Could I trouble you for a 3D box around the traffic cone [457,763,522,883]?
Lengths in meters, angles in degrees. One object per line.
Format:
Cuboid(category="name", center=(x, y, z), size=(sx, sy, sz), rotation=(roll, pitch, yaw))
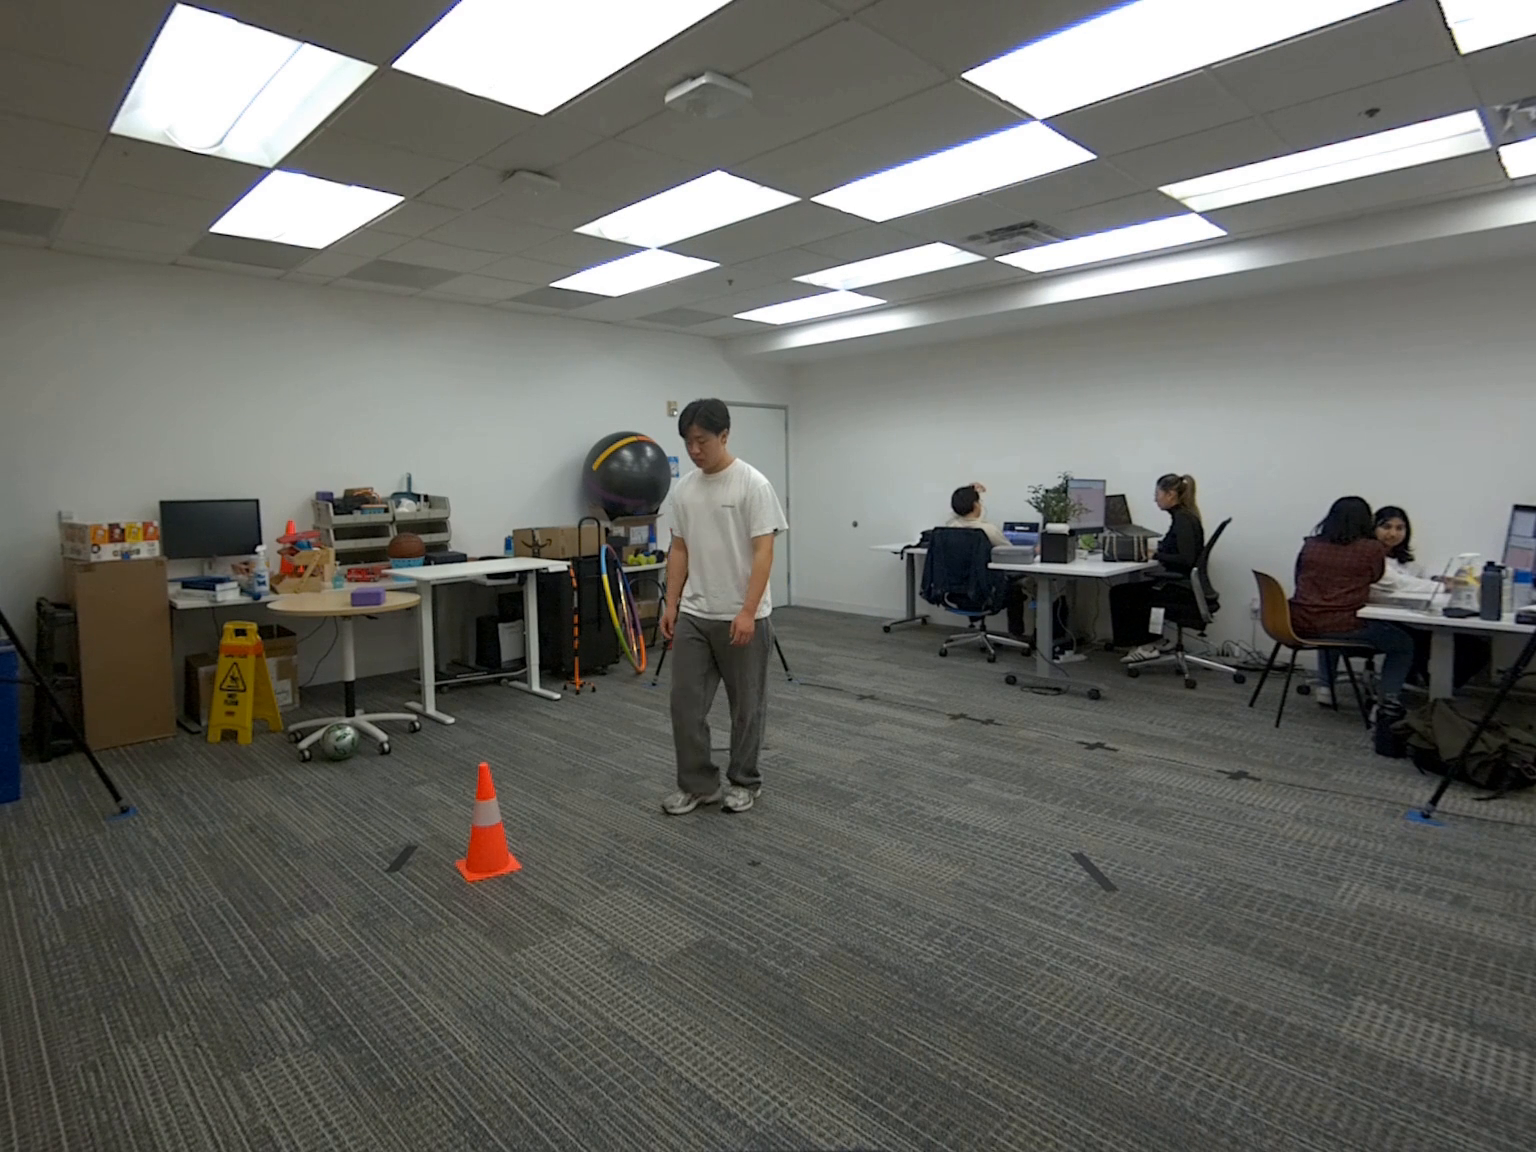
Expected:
Cuboid(category="traffic cone", center=(-1.040, 0.880, 3.126), size=(0.200, 0.382, 0.209), rotation=(-6, 7, -37))
